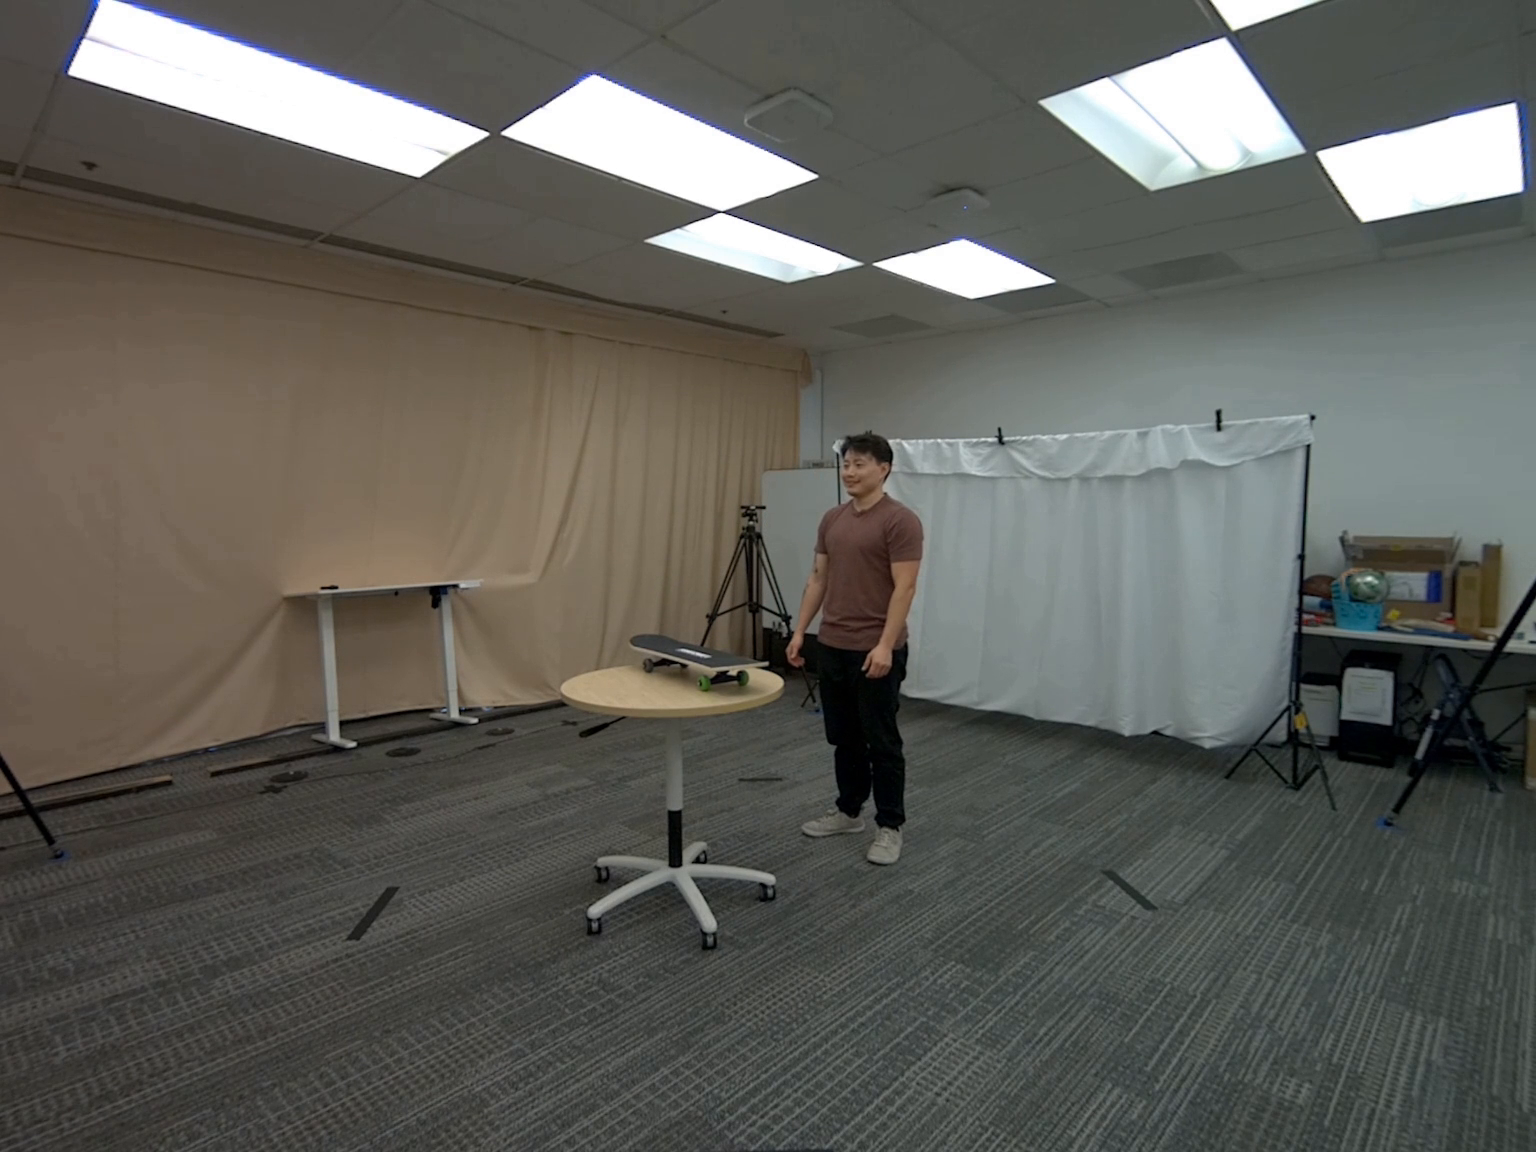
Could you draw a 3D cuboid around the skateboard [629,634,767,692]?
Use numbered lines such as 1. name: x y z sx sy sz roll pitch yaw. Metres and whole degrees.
1. skateboard: -0.268 0.313 2.973 0.188 0.110 0.810 -3 5 -33
